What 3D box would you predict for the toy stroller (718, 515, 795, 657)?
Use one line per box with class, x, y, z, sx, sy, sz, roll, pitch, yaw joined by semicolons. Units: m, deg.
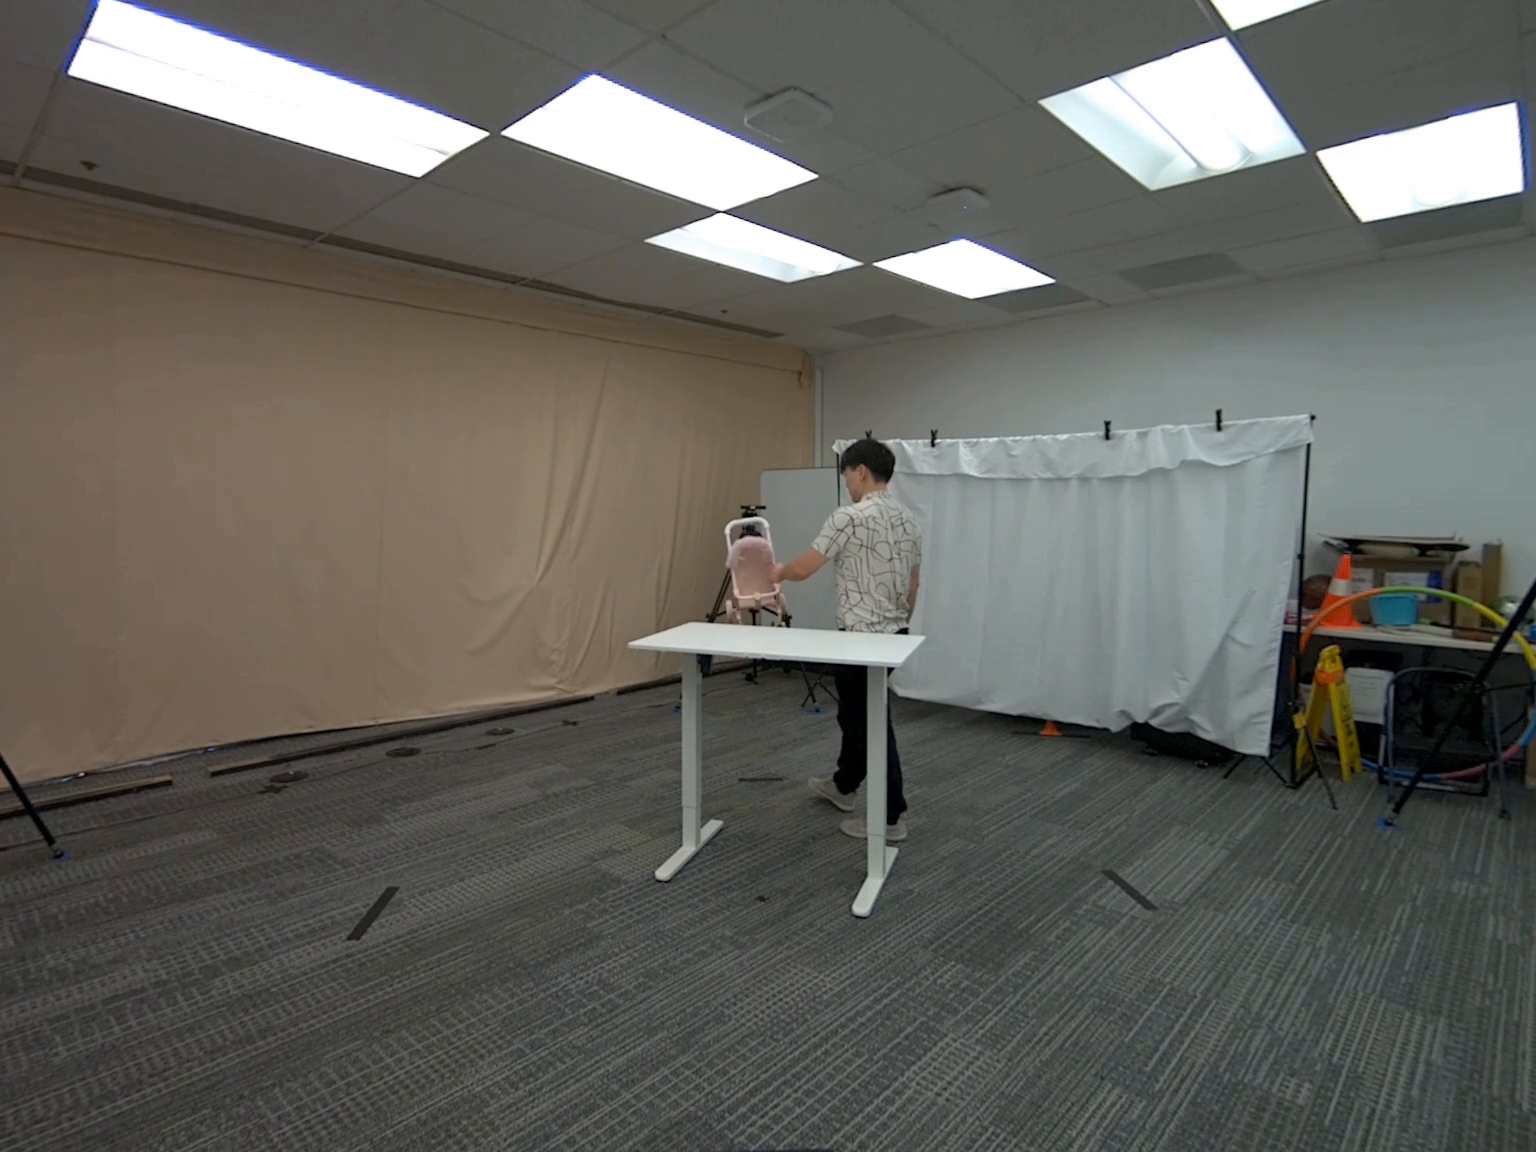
toy stroller;-0.060;0.037;3.850;0.281;0.529;0.345;-5;16;-1
